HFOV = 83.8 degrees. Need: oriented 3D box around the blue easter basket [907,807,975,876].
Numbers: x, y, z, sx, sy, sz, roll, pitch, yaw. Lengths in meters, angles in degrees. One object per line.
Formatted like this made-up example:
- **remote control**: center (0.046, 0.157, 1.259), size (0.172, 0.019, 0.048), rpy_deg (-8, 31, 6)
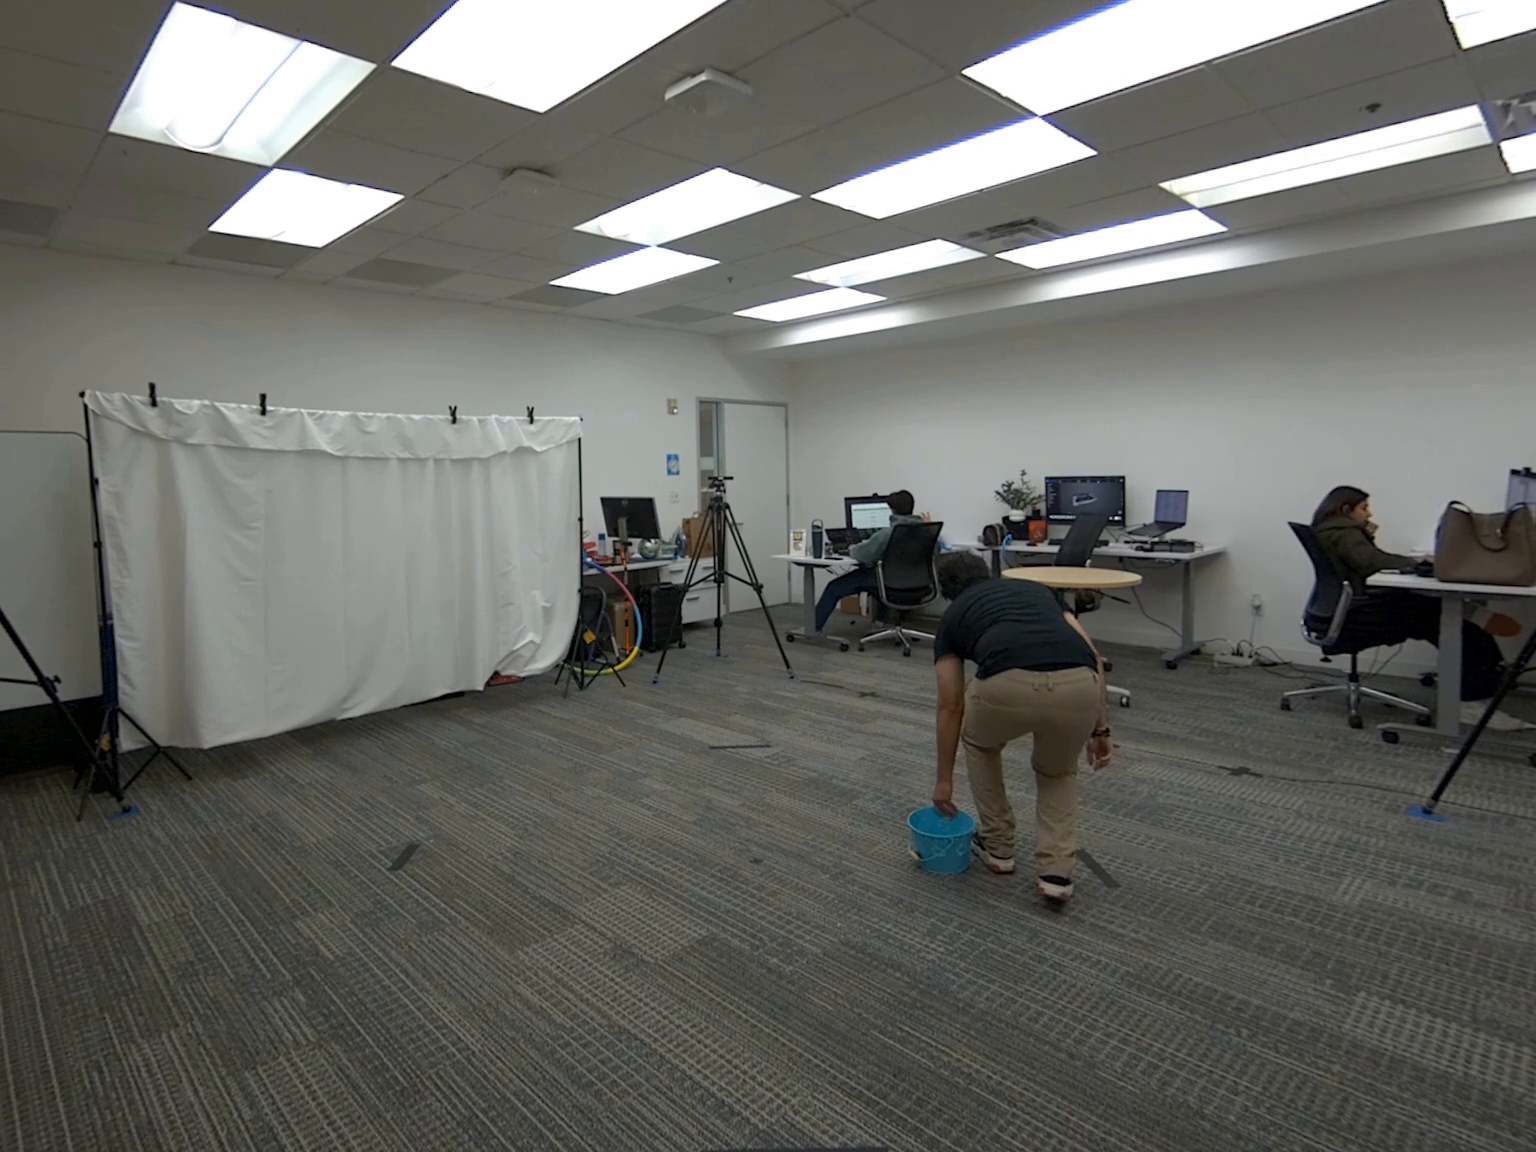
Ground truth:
- **blue easter basket**: center (0.621, 0.948, 3.051), size (0.243, 0.155, 0.246), rpy_deg (-4, 9, -1)
